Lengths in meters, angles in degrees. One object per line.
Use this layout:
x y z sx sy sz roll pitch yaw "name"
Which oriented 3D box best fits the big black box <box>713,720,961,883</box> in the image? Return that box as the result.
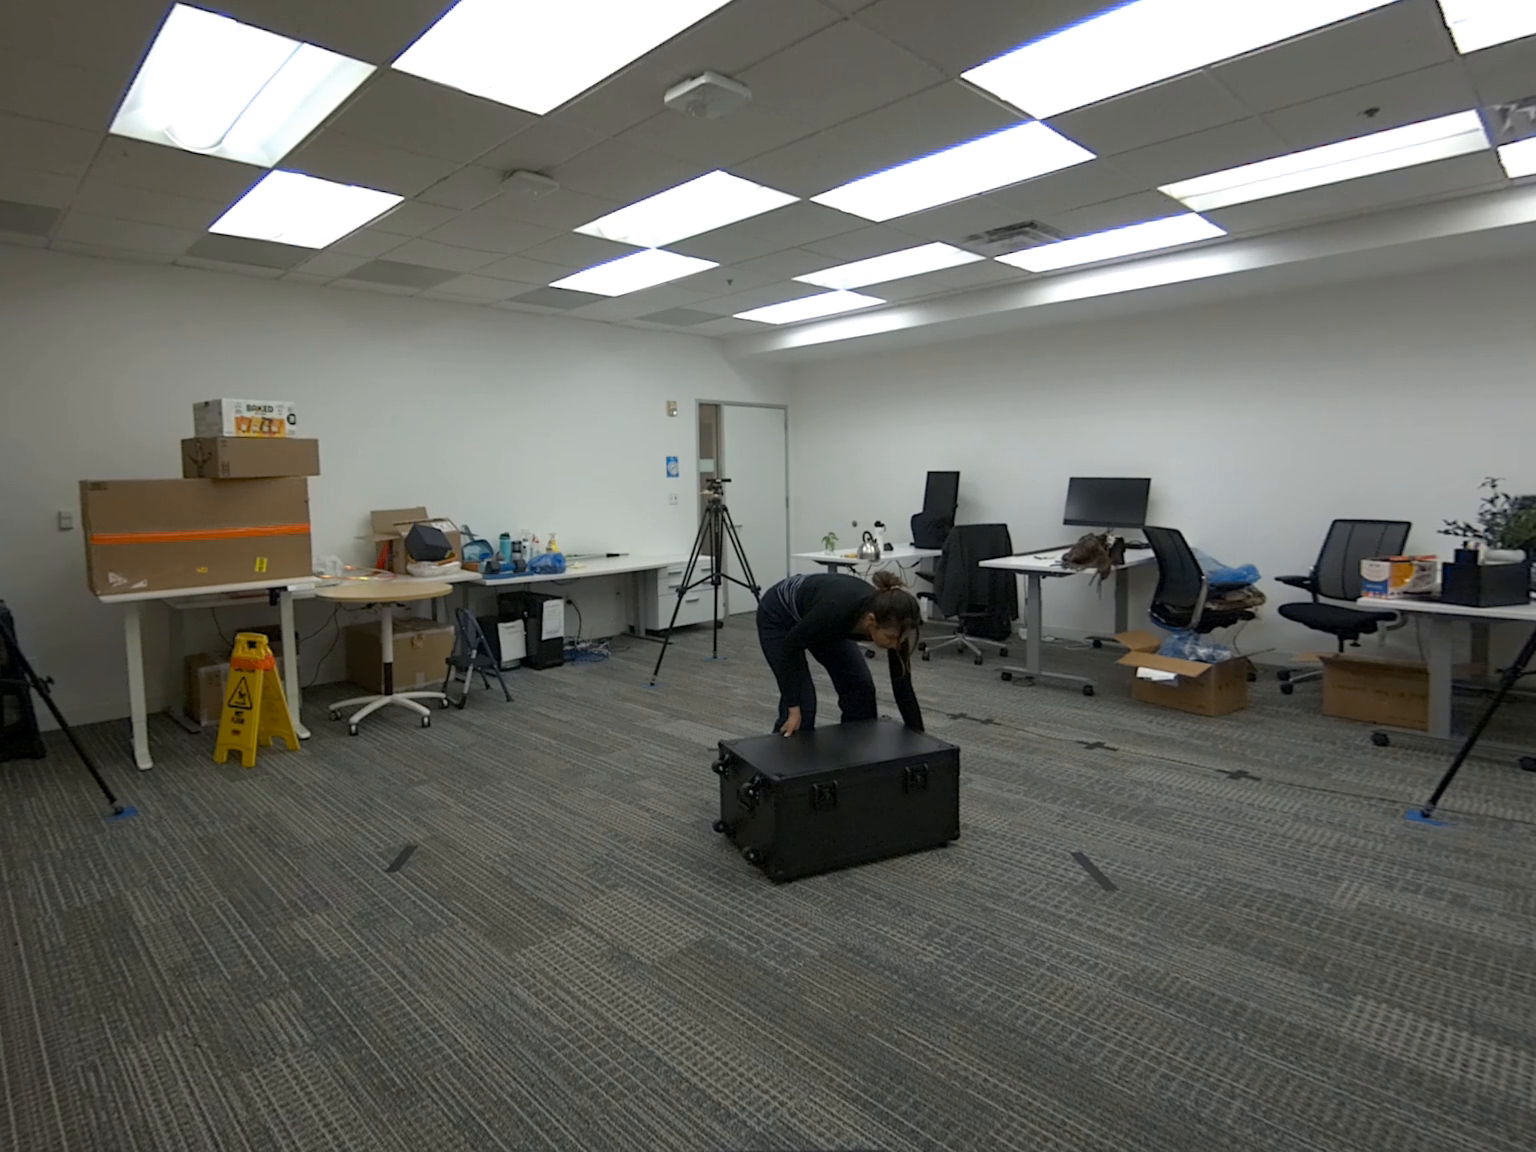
0.284 0.830 3.285 0.844 0.395 0.534 -3 6 -25 "big black box"
